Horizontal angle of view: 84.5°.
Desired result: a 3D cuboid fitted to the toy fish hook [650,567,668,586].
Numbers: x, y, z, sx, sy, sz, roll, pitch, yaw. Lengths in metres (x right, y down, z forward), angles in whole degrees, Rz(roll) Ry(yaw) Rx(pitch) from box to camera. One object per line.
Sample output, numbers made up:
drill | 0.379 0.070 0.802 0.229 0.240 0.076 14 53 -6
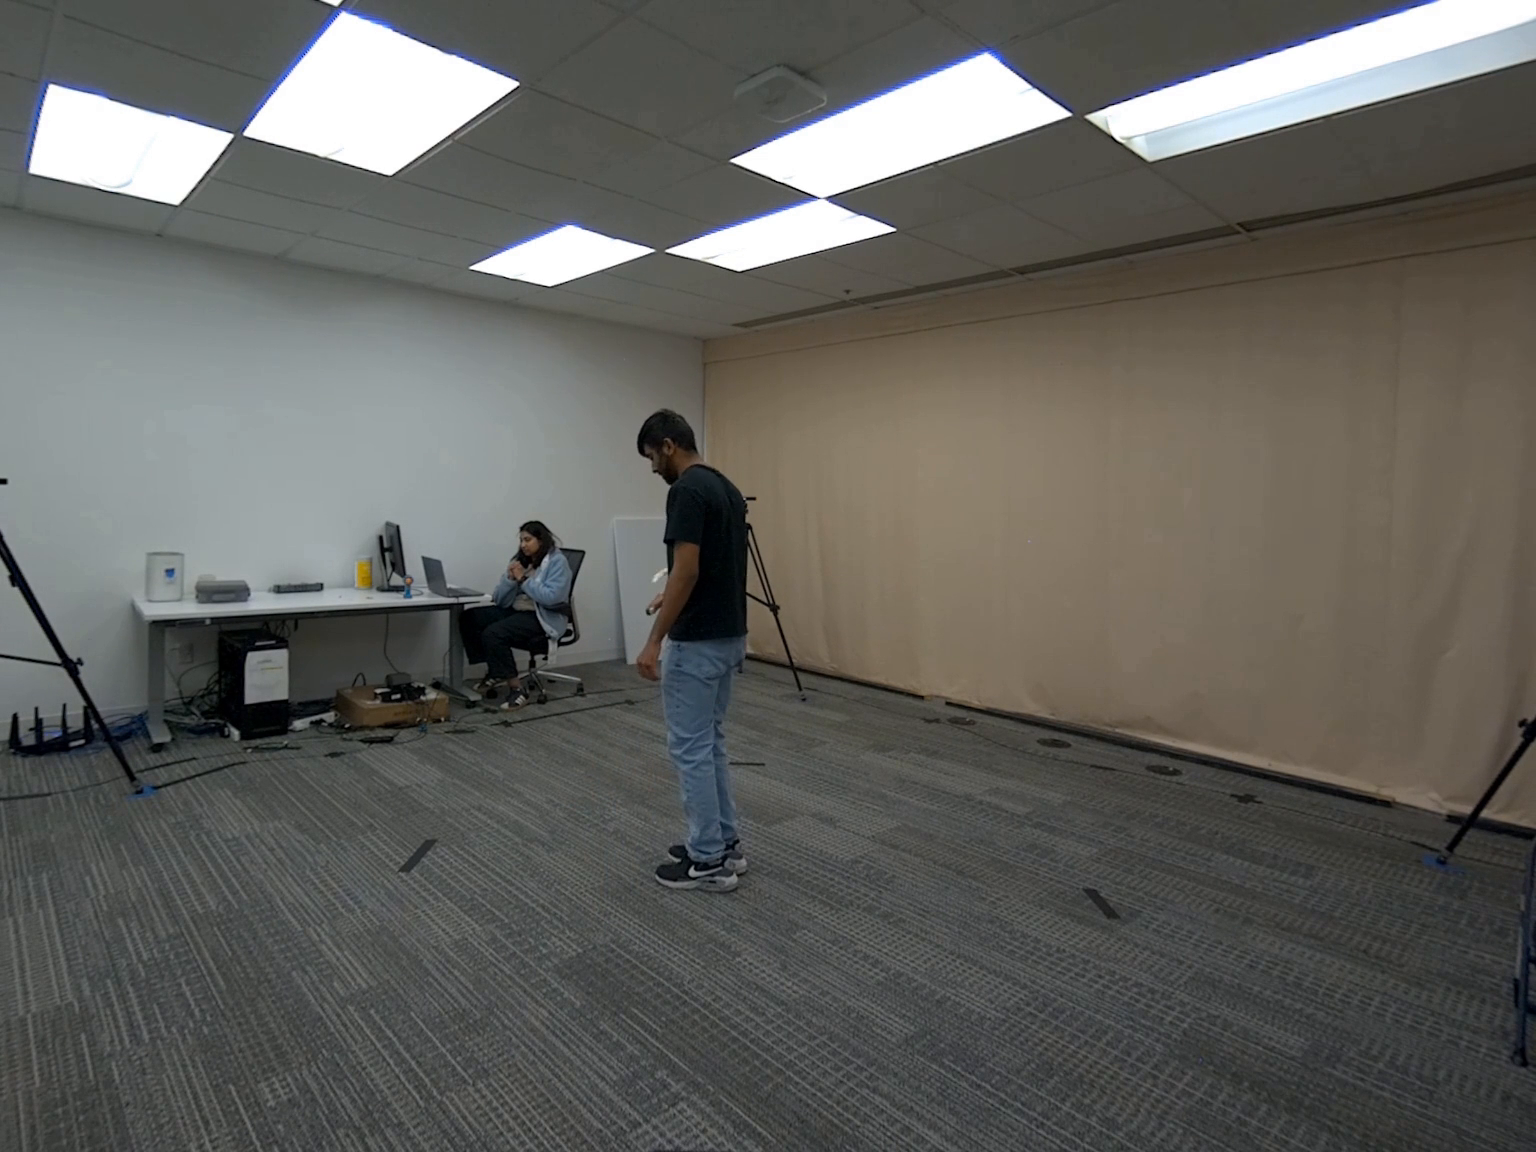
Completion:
toy fish hook | -0.444 0.061 3.584 0.227 0.047 0.509 -12 21 21
